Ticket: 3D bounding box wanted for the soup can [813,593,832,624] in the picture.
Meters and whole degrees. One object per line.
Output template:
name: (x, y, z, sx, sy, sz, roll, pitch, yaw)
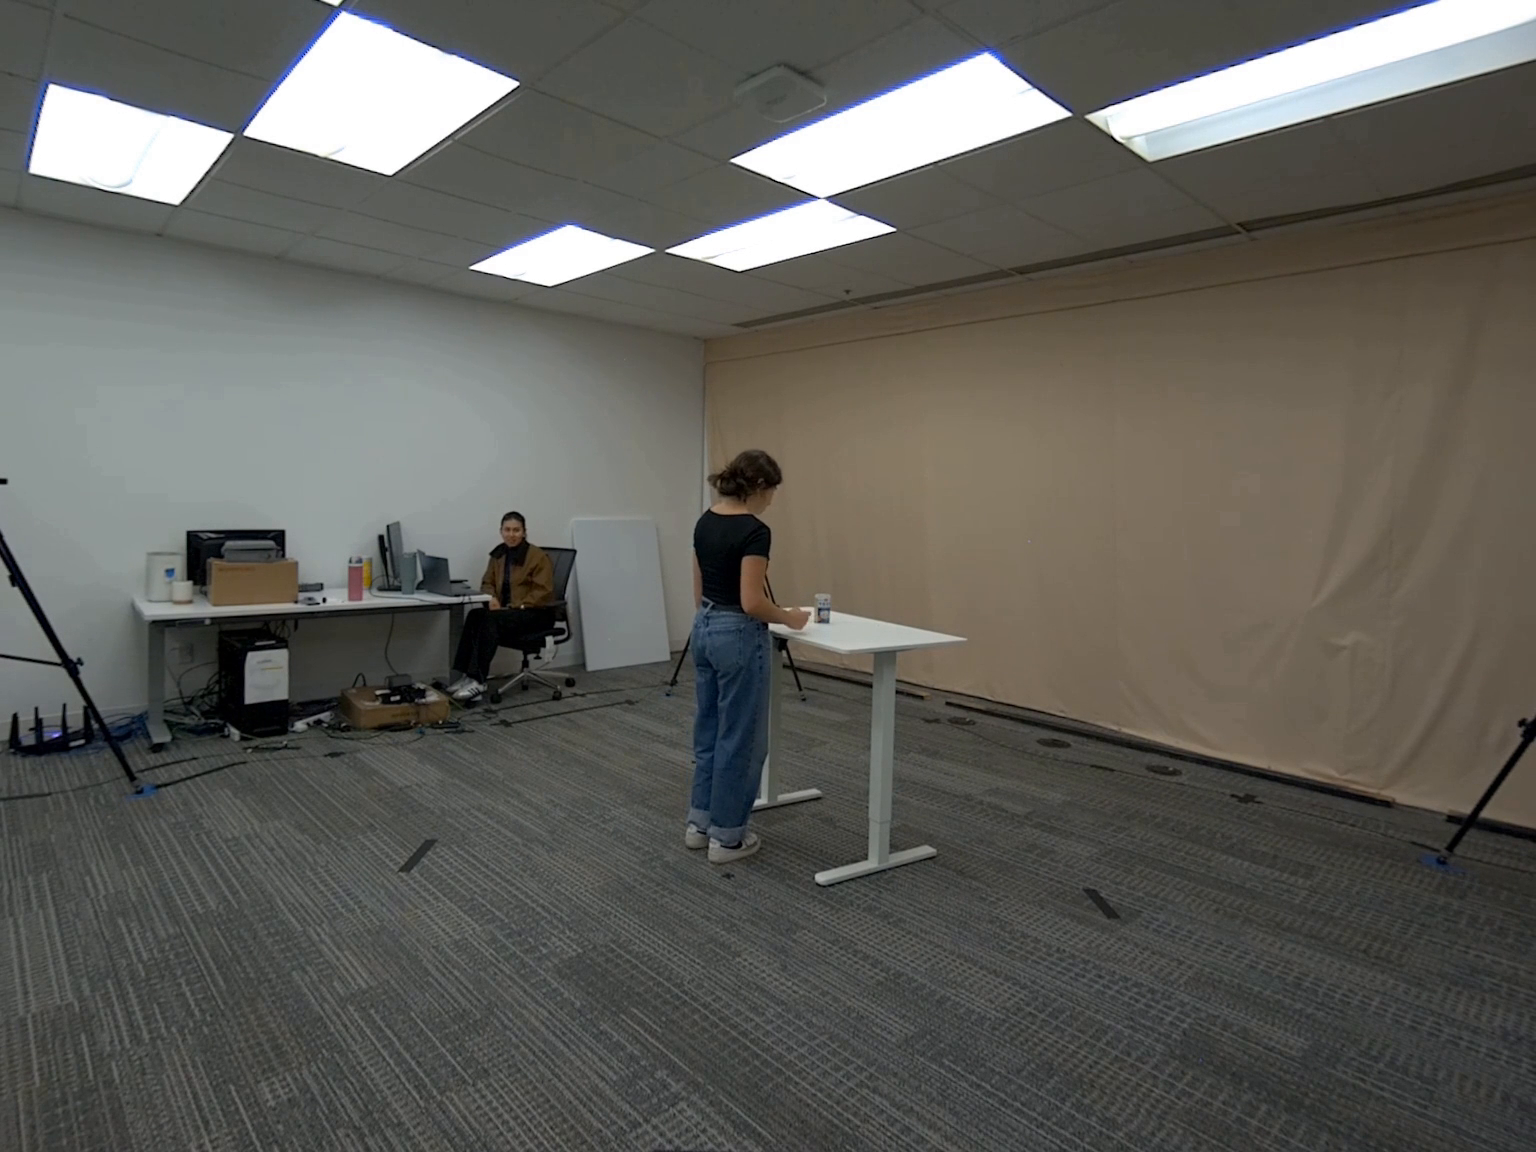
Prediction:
soup can: (0.221, 0.138, 3.538, 0.067, 0.121, 0.067, 4, 6, -2)
